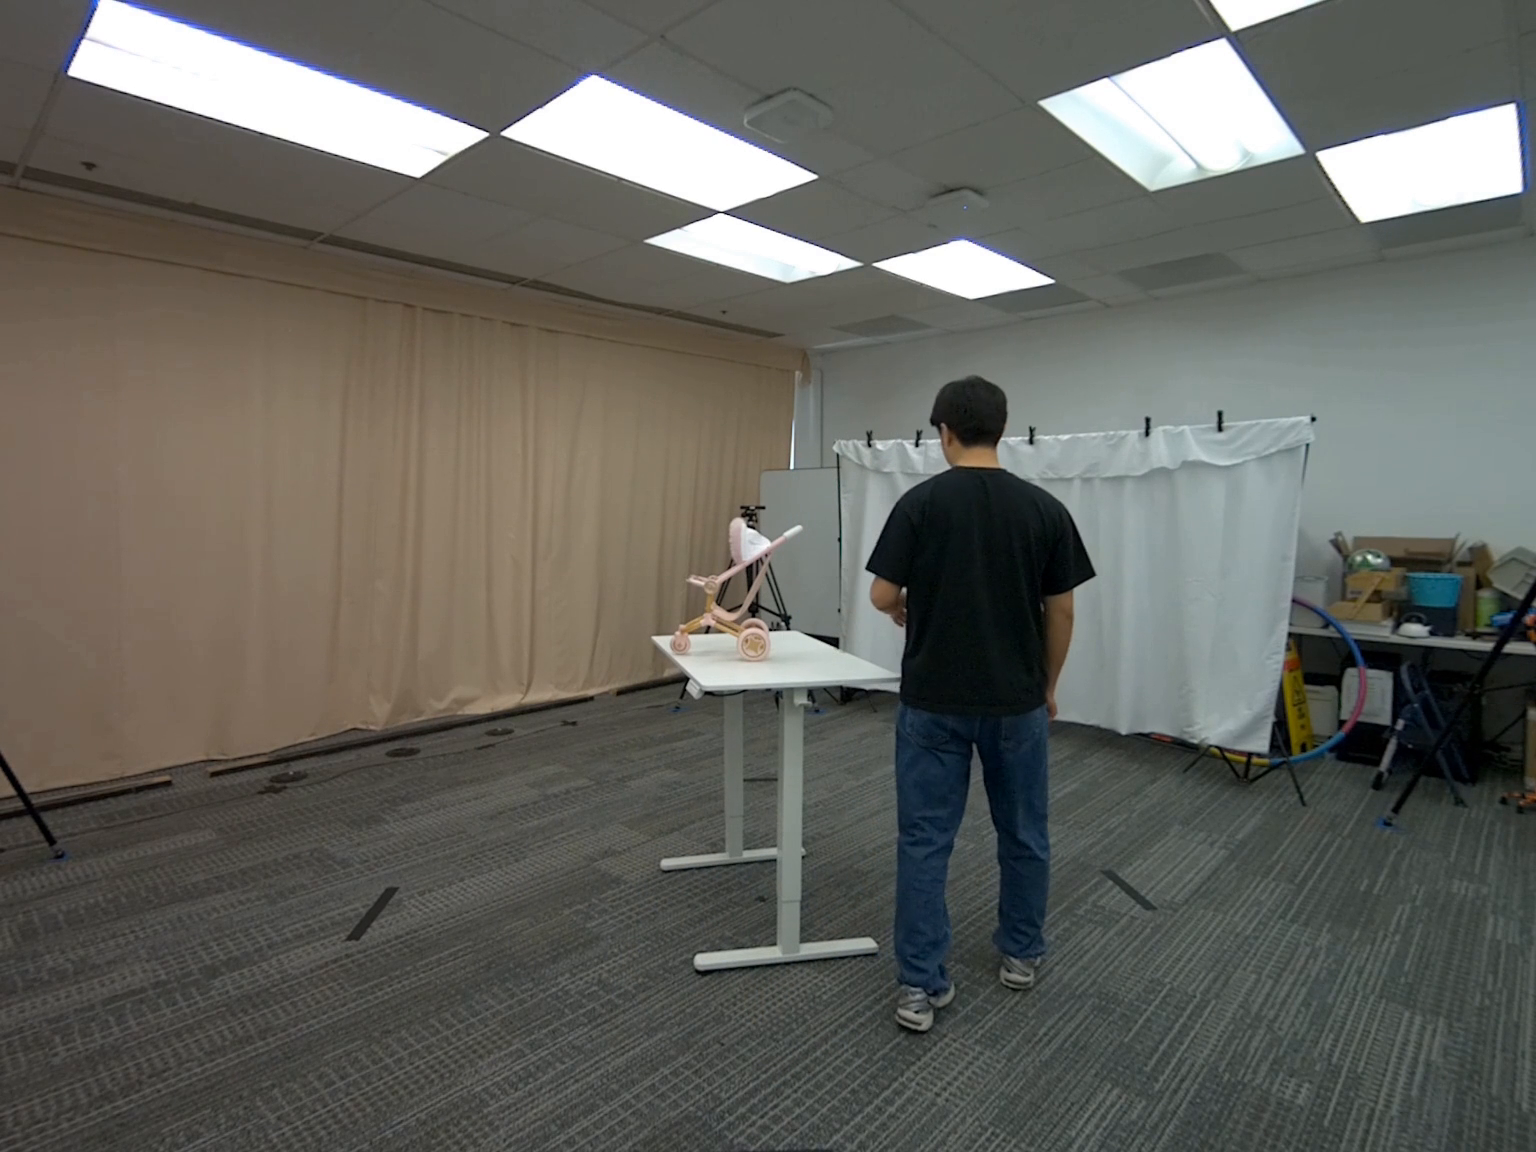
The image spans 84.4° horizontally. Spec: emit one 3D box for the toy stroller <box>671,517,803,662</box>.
[{"bbox_3d":[-0.115,0.047,2.870,0.344,0.534,0.280,15,4,6],"label":"toy stroller"}]
